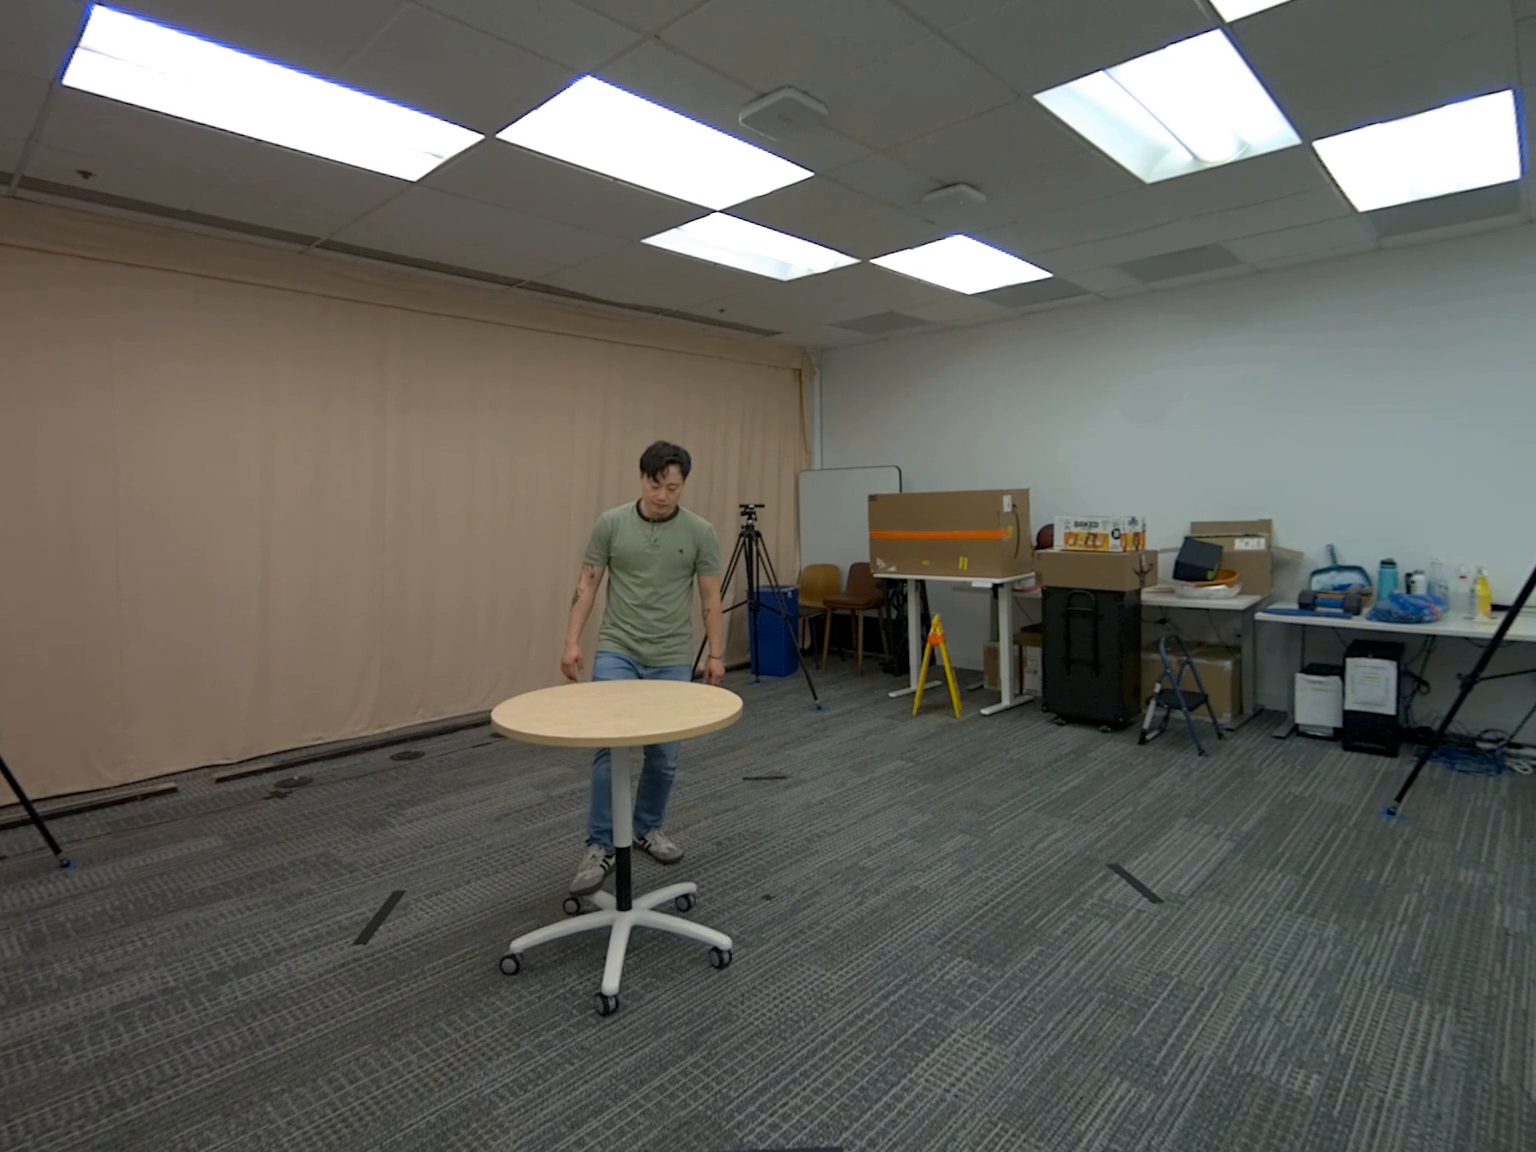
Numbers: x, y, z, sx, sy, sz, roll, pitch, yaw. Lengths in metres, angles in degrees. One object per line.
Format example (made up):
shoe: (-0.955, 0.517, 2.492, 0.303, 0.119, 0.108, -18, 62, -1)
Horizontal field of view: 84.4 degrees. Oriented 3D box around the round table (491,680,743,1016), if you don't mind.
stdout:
round table: (-0.449, 0.790, 2.620, 0.763, 0.792, 0.766, -1, 3, -2)
